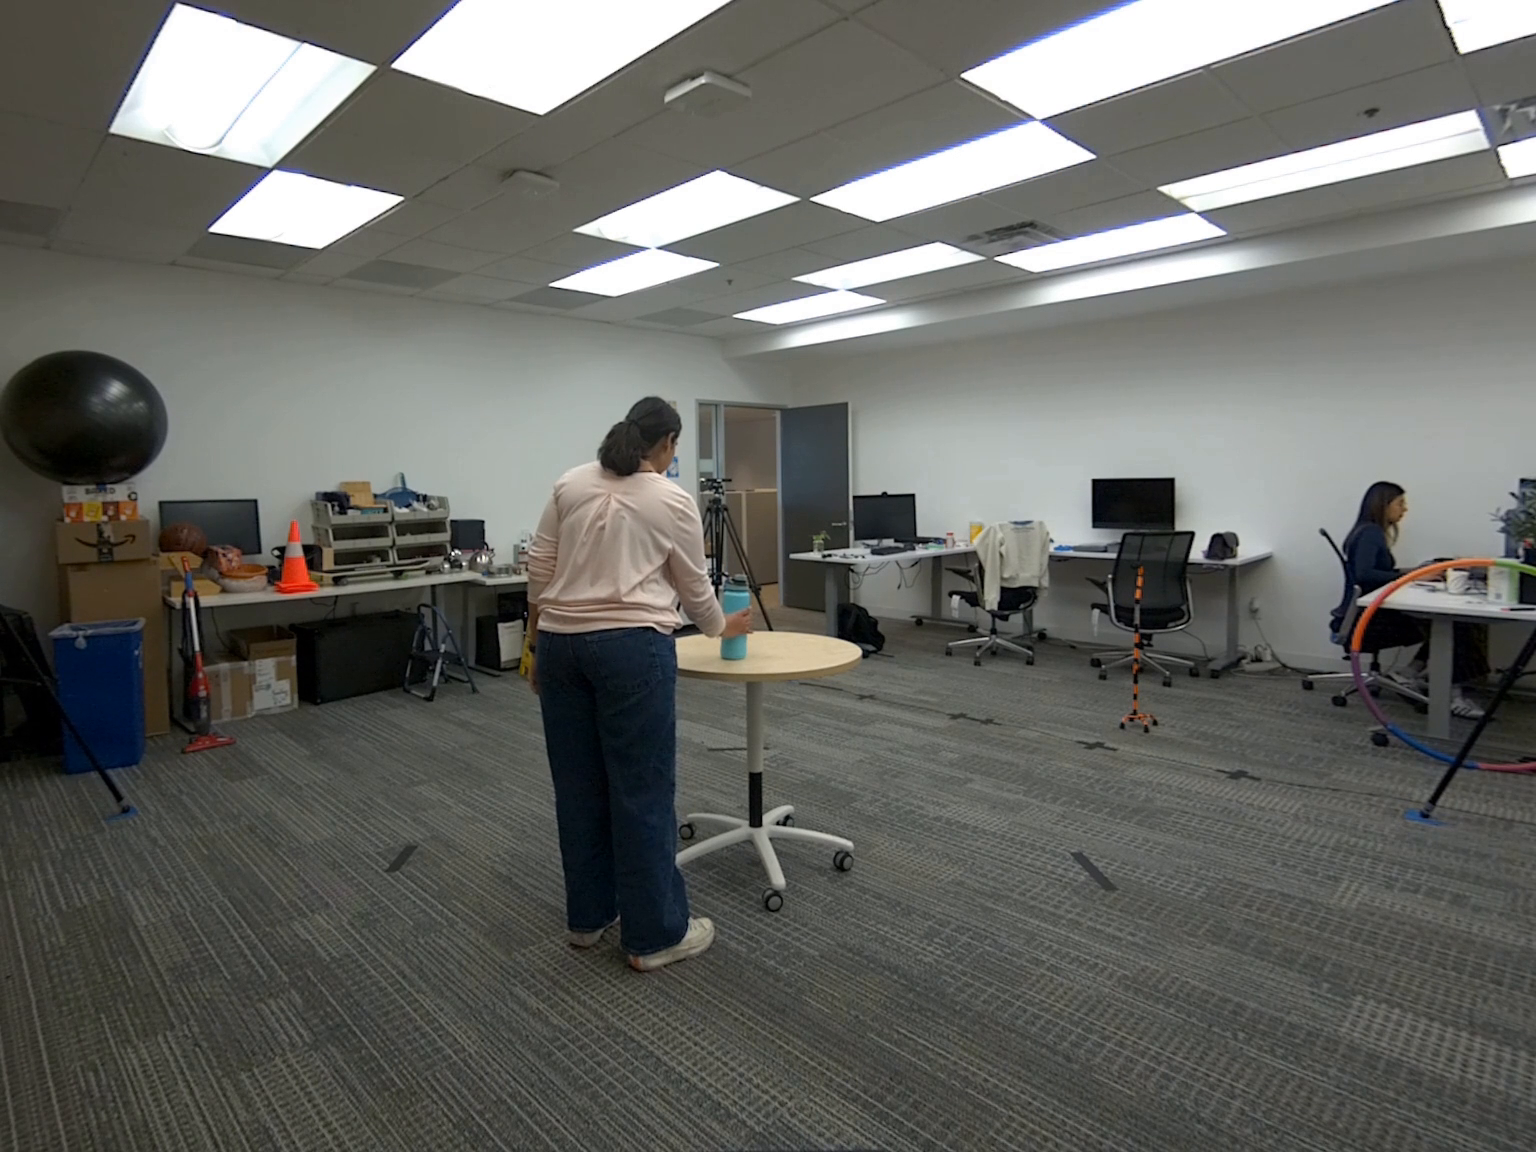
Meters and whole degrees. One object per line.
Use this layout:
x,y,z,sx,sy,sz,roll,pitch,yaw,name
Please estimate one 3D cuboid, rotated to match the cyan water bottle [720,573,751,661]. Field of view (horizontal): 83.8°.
-0.113,0.139,2.925,0.092,0.283,0.092,2,0,-2,cyan water bottle
